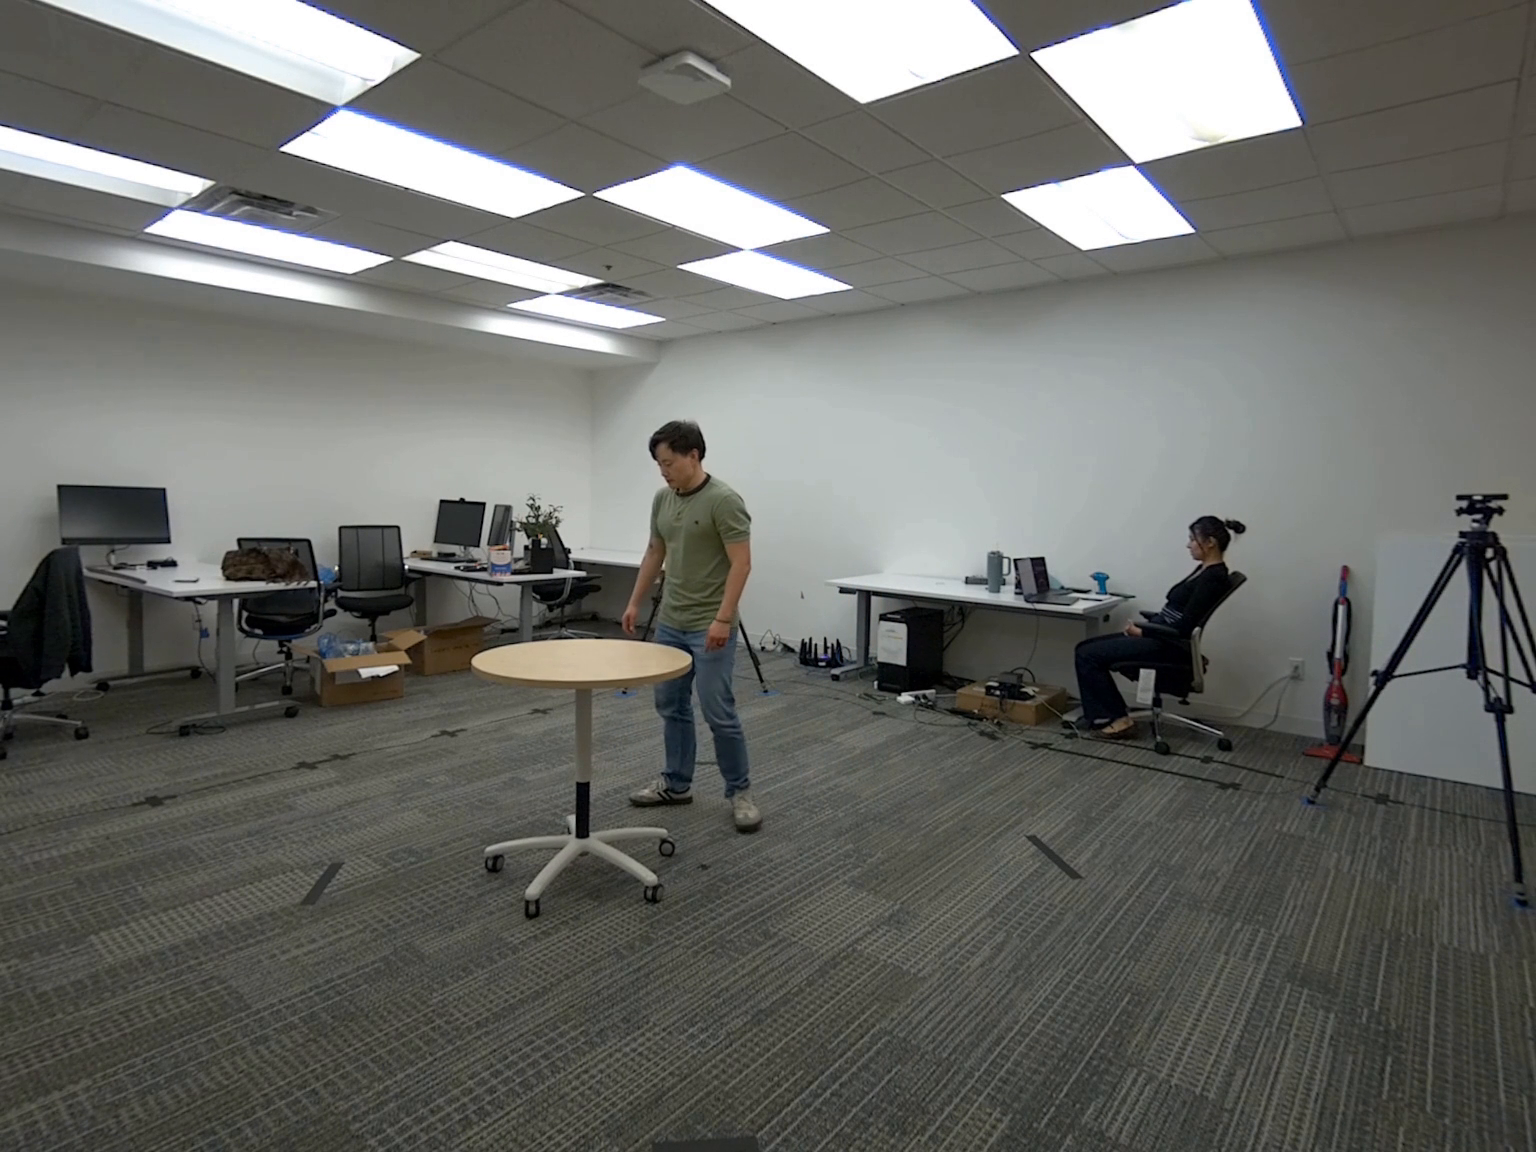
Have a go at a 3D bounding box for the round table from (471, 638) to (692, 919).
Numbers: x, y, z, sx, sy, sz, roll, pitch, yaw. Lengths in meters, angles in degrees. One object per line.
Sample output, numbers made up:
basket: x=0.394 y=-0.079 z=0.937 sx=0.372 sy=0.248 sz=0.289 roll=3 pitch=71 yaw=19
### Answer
round table: x=-0.668 y=0.678 z=3.017 sx=0.763 sy=0.792 sz=0.767 roll=0 pitch=4 yaw=-2
